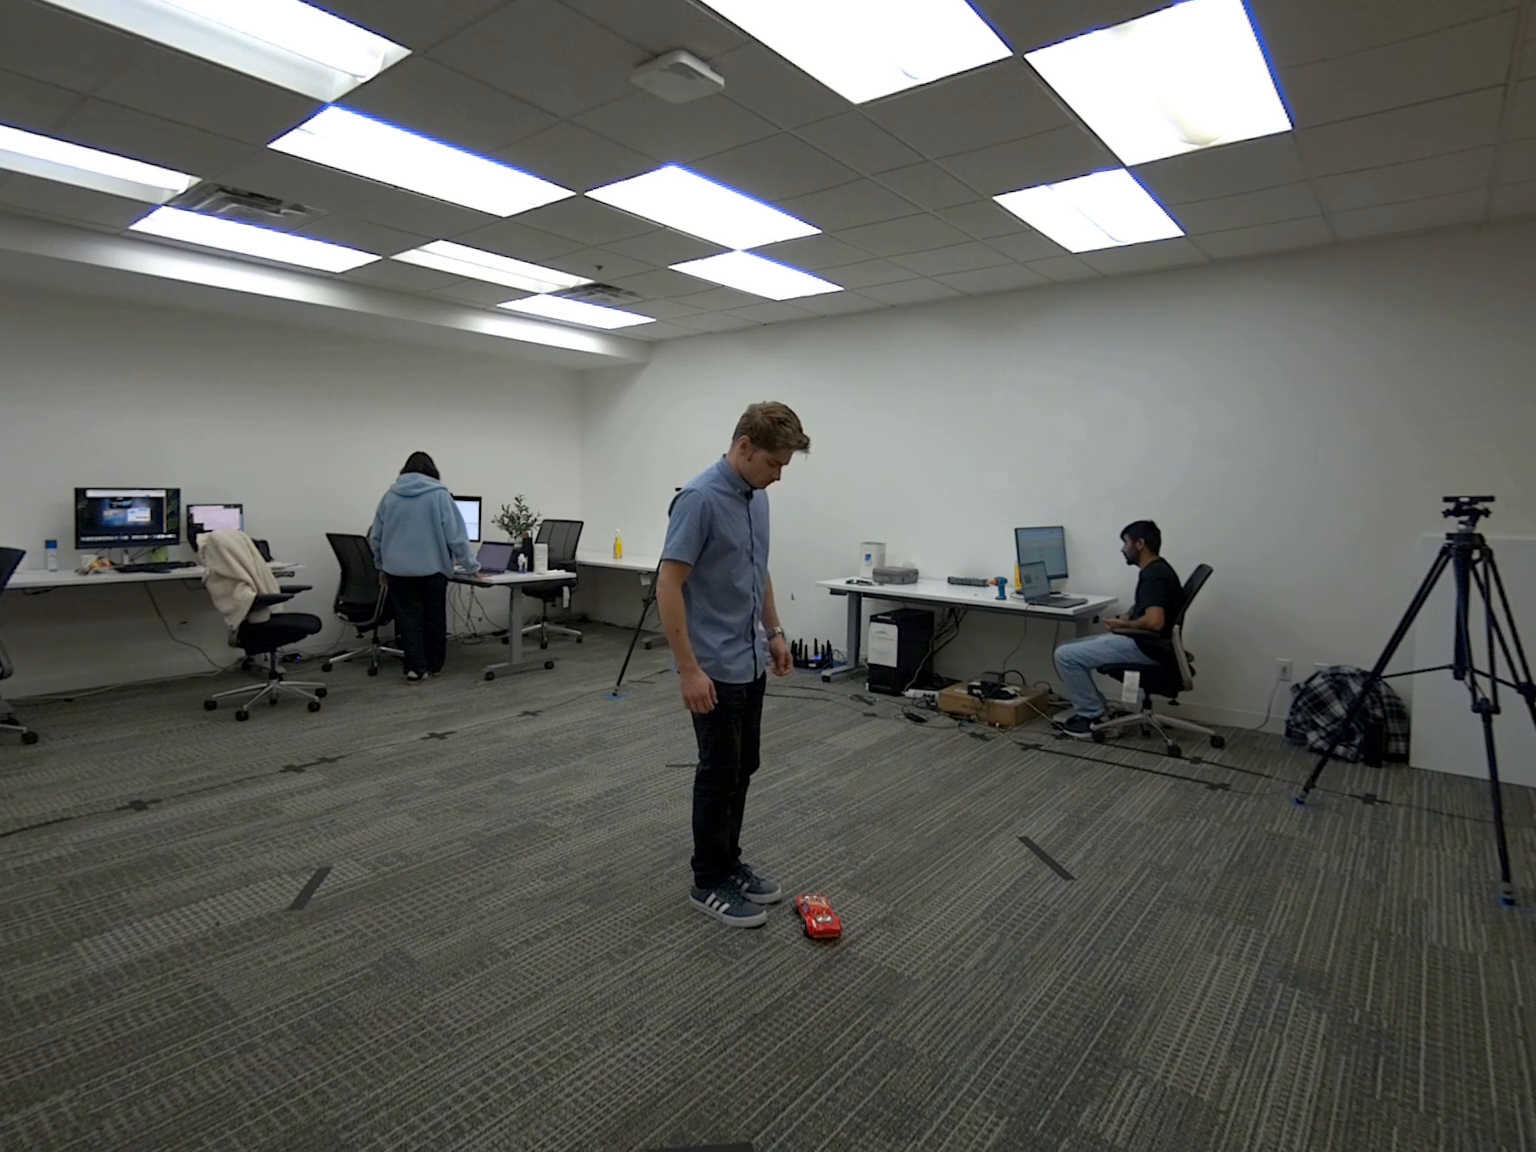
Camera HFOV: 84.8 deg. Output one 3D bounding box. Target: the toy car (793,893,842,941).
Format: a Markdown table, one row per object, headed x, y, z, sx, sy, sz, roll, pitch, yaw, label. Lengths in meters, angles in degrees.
| x | y | z | sx | sy | sz | roll | pitch | yaw | label |
| --- | --- | --- | --- | --- | --- | --- | --- | --- | --- |
| 0.155 | 1.084 | 2.704 | 0.129 | 0.084 | 0.255 | 0 | -6 | -9 | toy car |
